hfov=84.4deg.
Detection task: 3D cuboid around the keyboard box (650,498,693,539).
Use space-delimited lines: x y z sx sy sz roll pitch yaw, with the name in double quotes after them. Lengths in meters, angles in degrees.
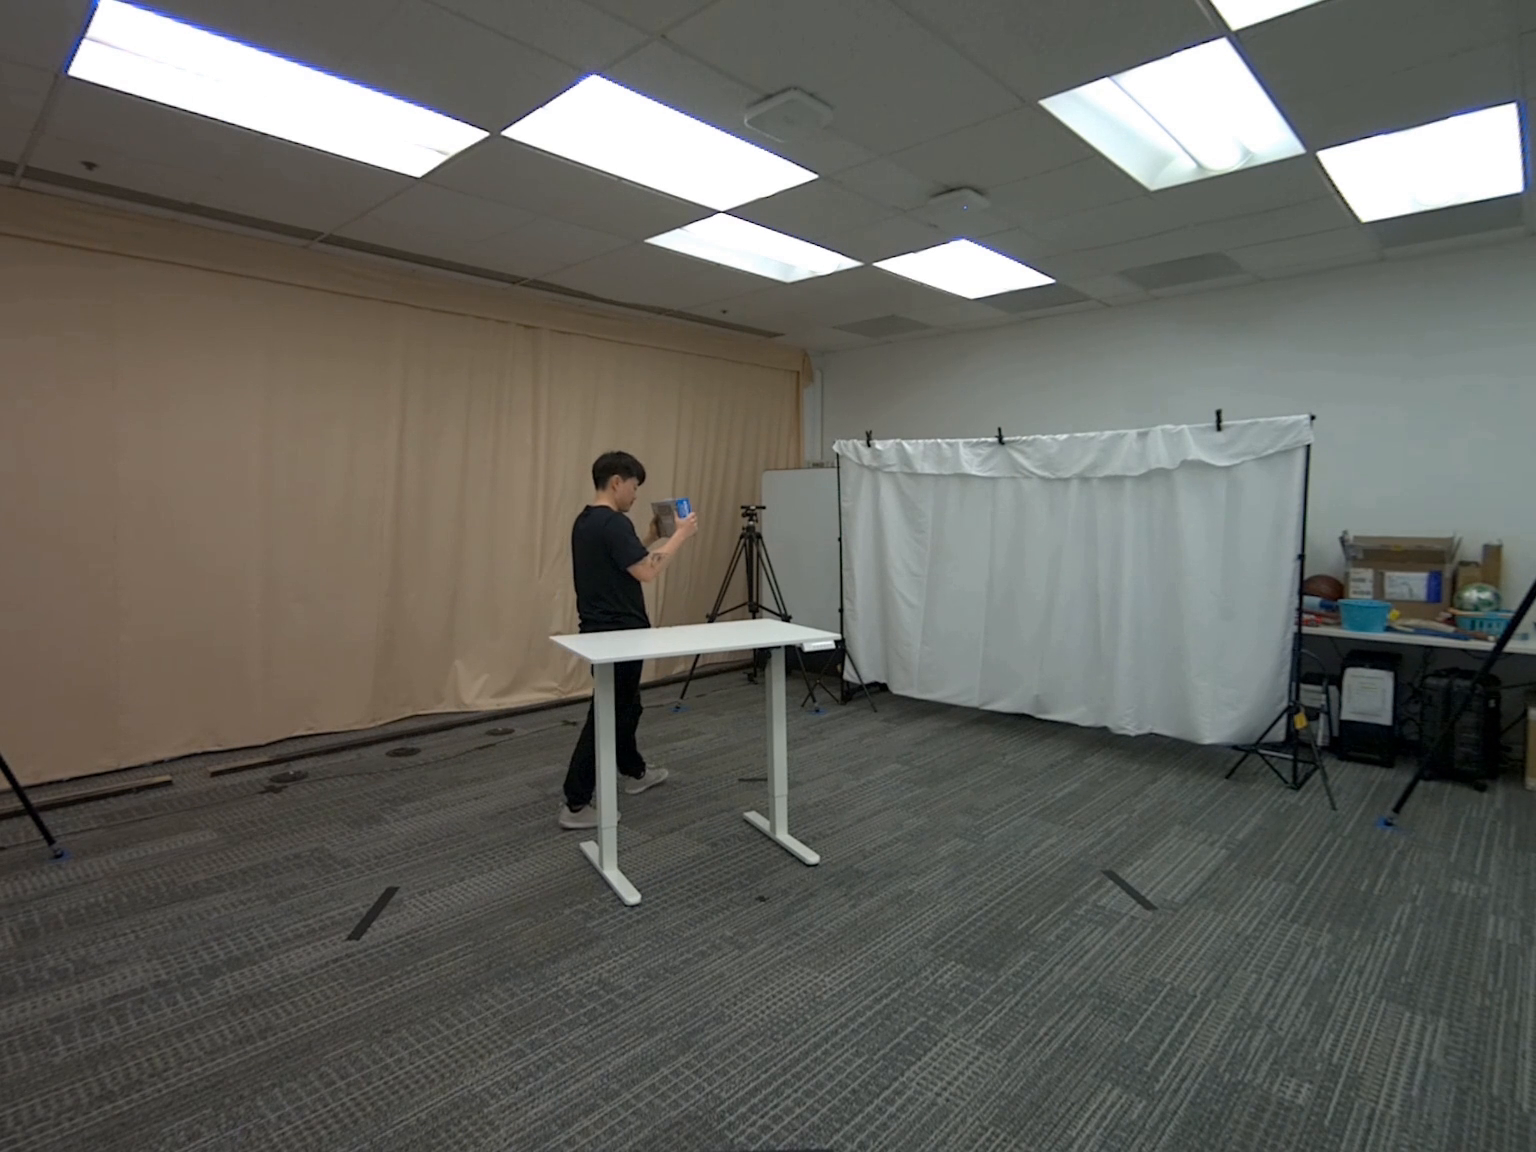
-0.443 -0.267 3.920 0.058 0.175 0.447 -11 7 -21 "keyboard box"
